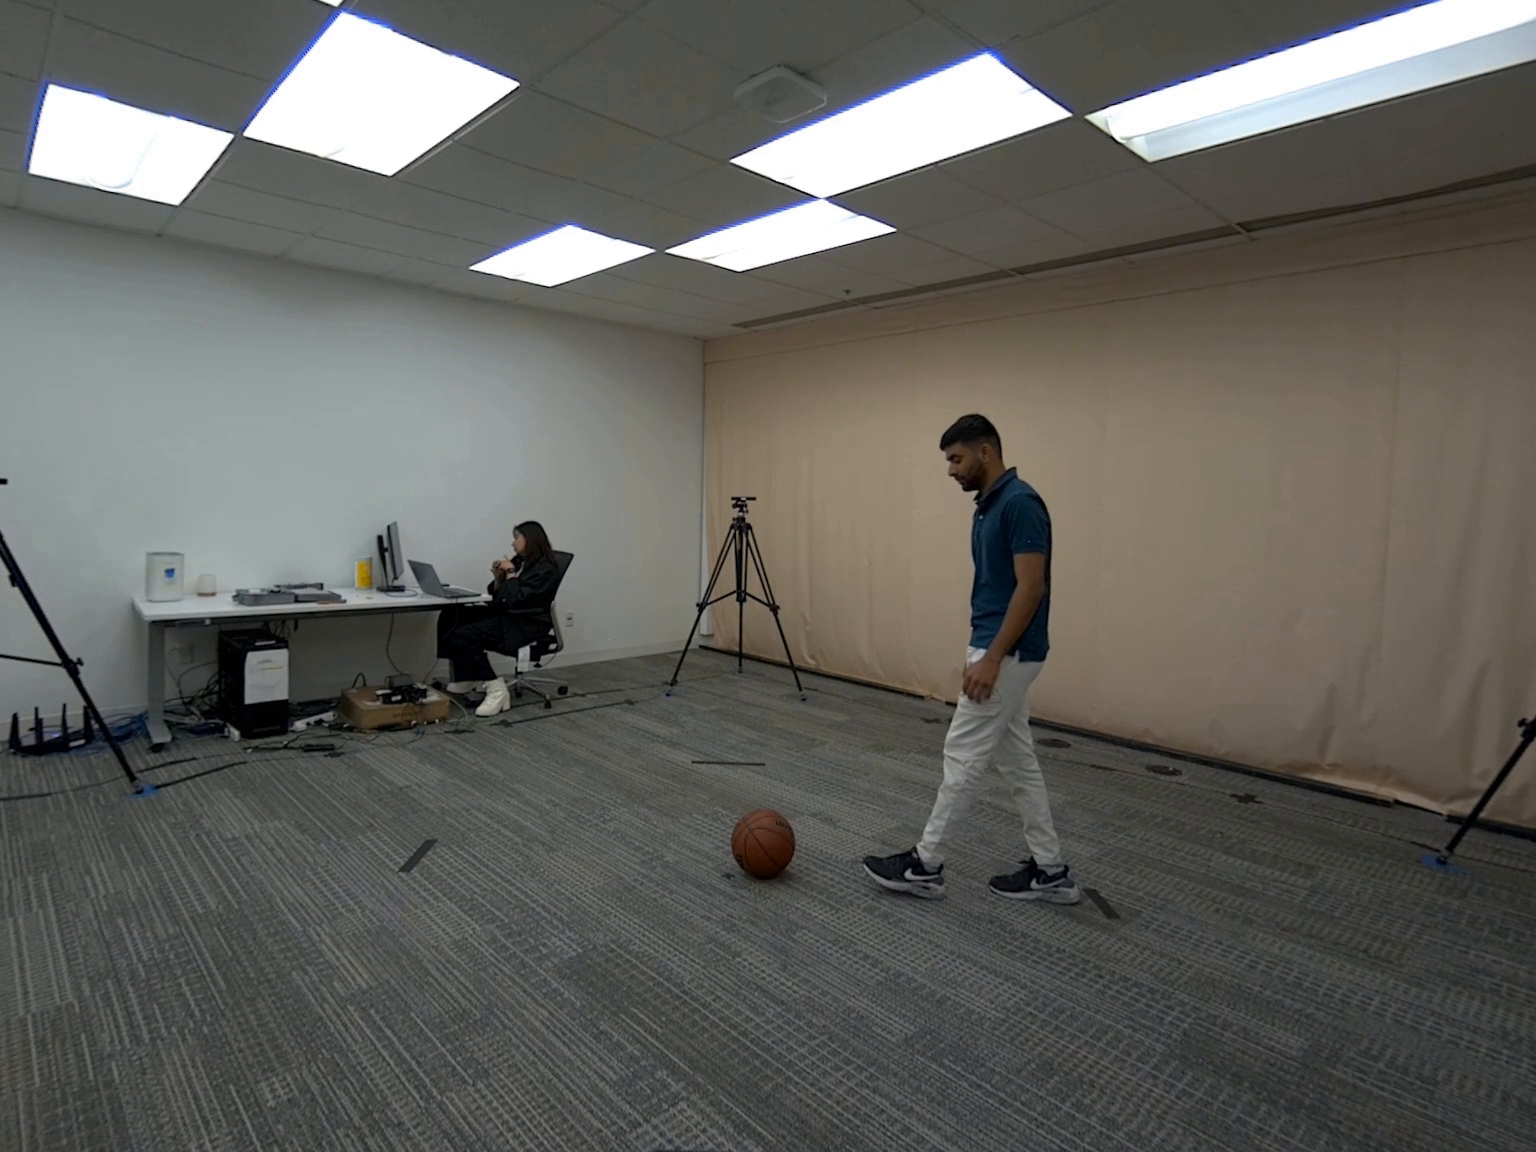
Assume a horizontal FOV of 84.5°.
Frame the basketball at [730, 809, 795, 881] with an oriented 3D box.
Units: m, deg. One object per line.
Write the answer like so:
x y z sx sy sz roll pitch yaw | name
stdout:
-0.023 0.982 3.122 0.236 0.235 0.237 1 4 -1 | basketball
